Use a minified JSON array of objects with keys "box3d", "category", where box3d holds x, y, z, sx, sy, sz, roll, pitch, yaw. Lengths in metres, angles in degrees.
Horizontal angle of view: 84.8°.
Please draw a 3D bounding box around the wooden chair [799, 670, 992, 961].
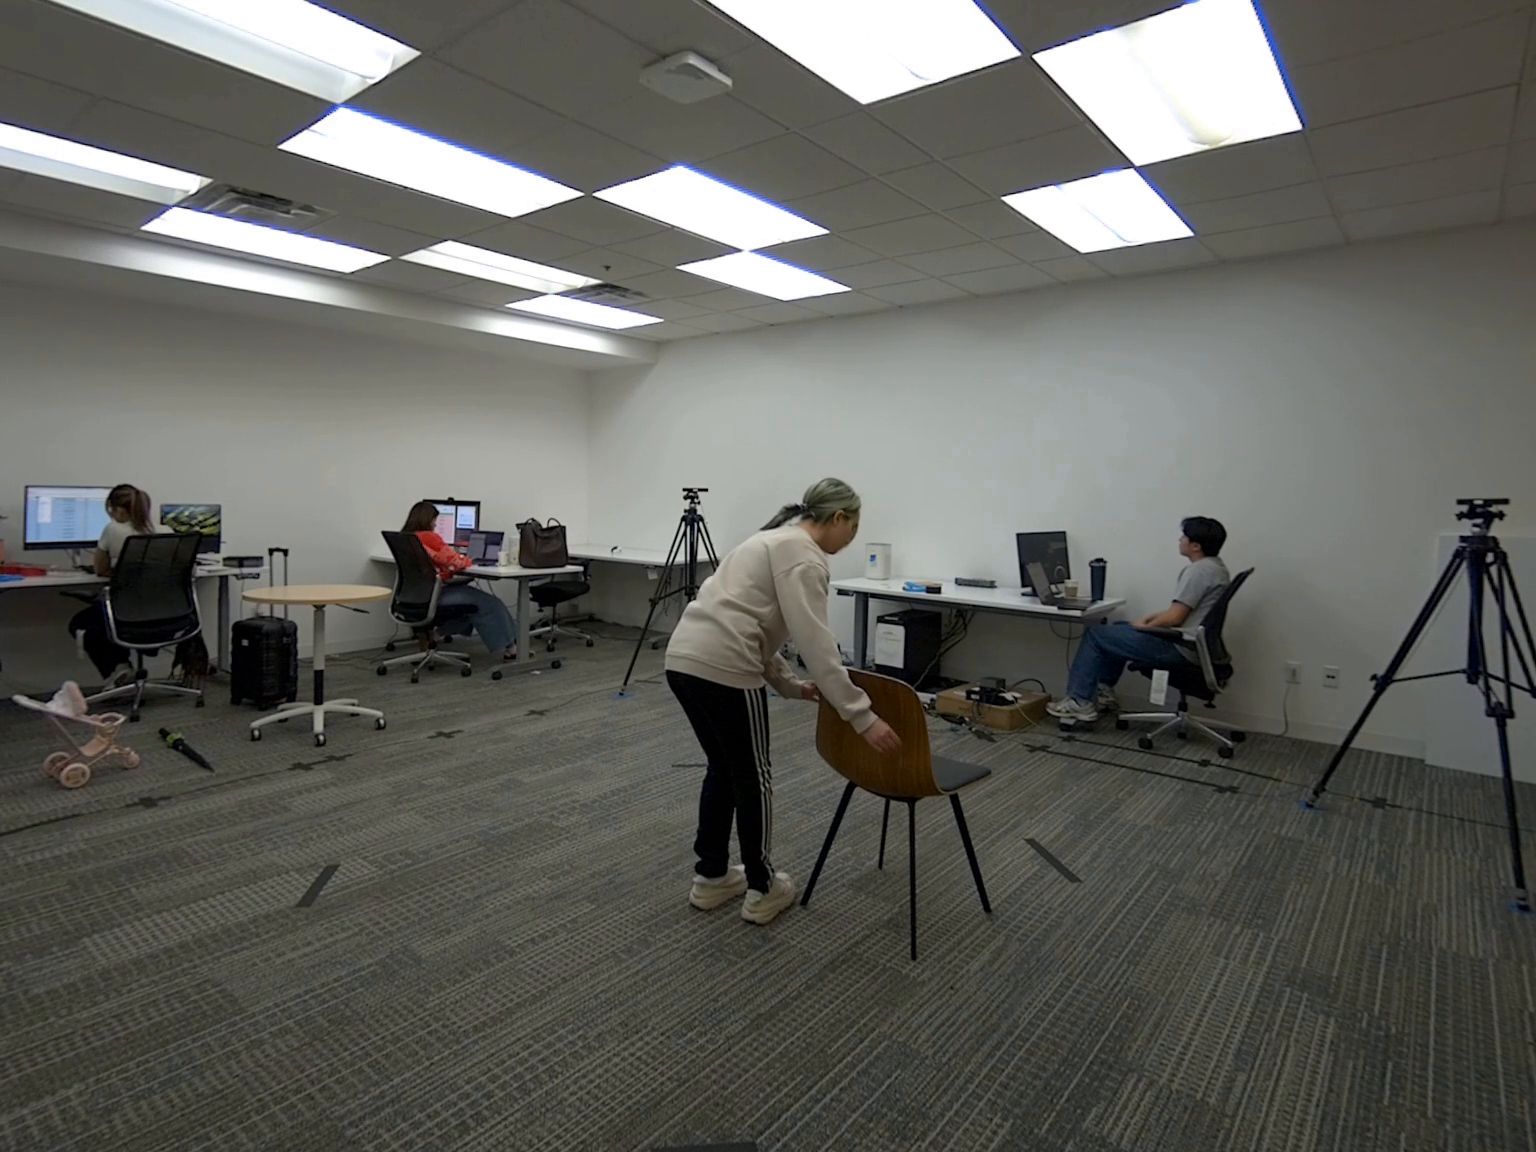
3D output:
[{"box3d":[0.439,0.689,2.822,0.494,0.872,0.508,4,8,45],"category":"wooden chair"}]
